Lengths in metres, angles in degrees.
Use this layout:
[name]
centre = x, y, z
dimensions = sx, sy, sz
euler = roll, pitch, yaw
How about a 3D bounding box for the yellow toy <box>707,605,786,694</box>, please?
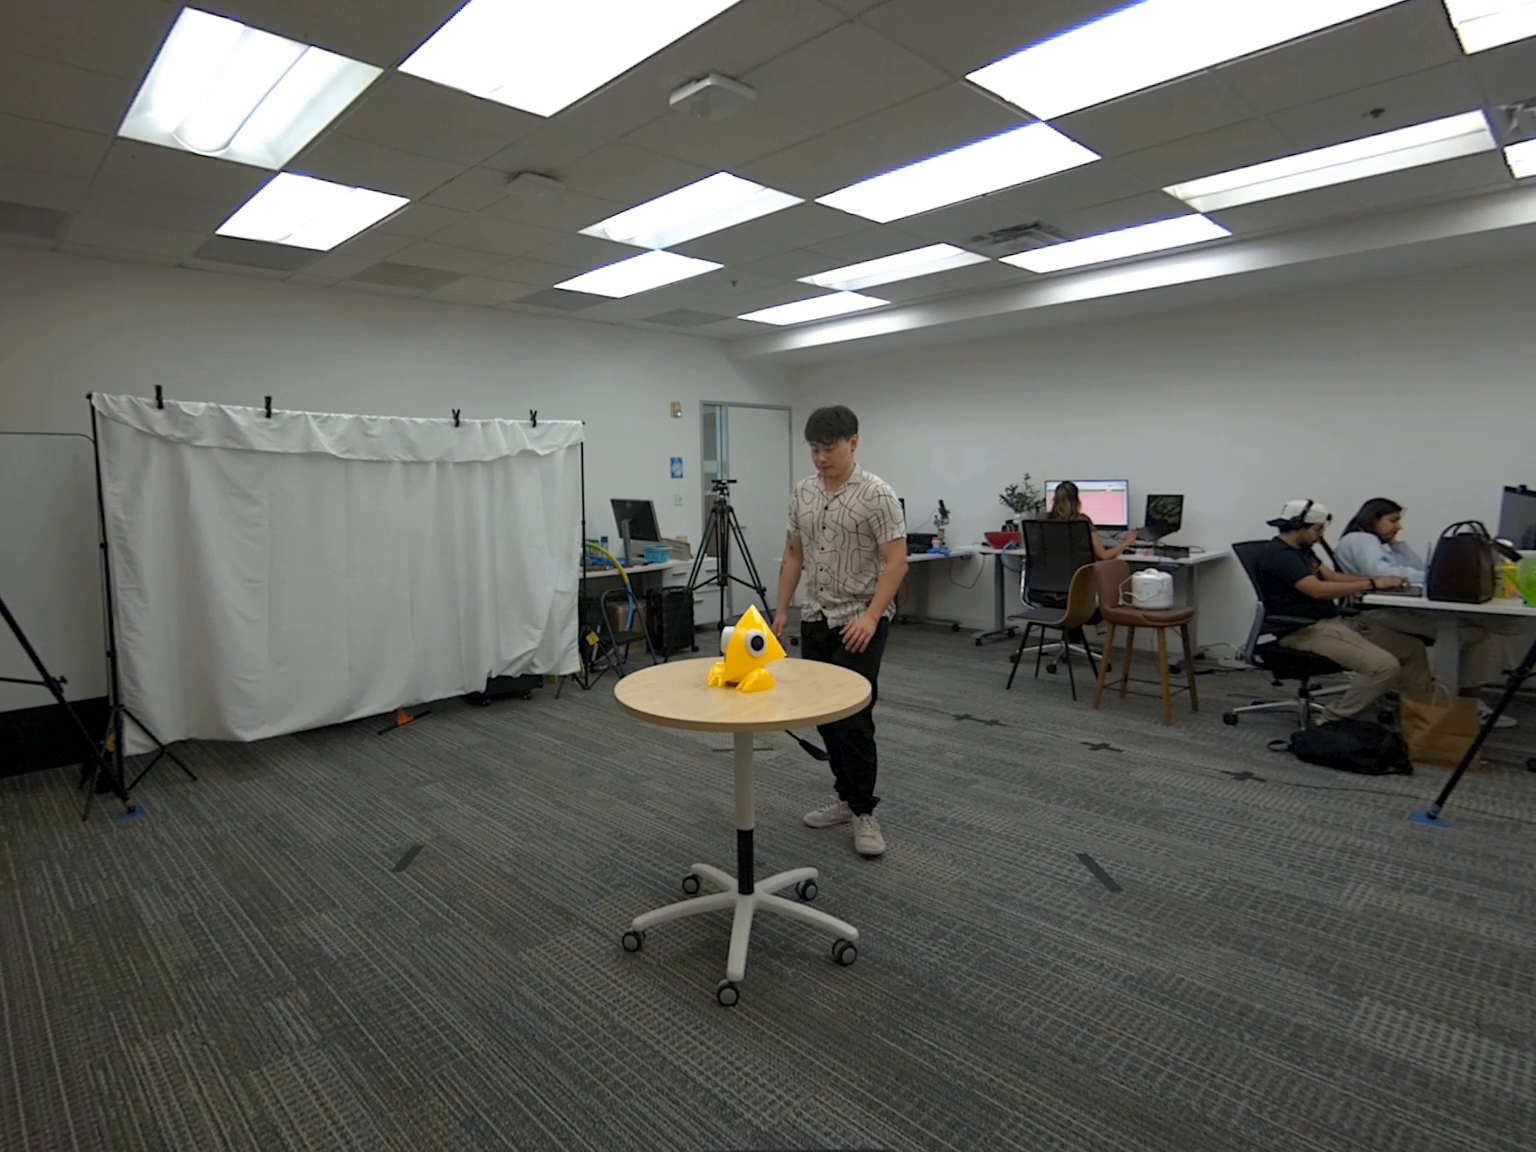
[yellow toy]
centre = -0.072, 0.213, 2.577
dimensions = 0.211, 0.229, 0.188
euler = 3, 7, 34
